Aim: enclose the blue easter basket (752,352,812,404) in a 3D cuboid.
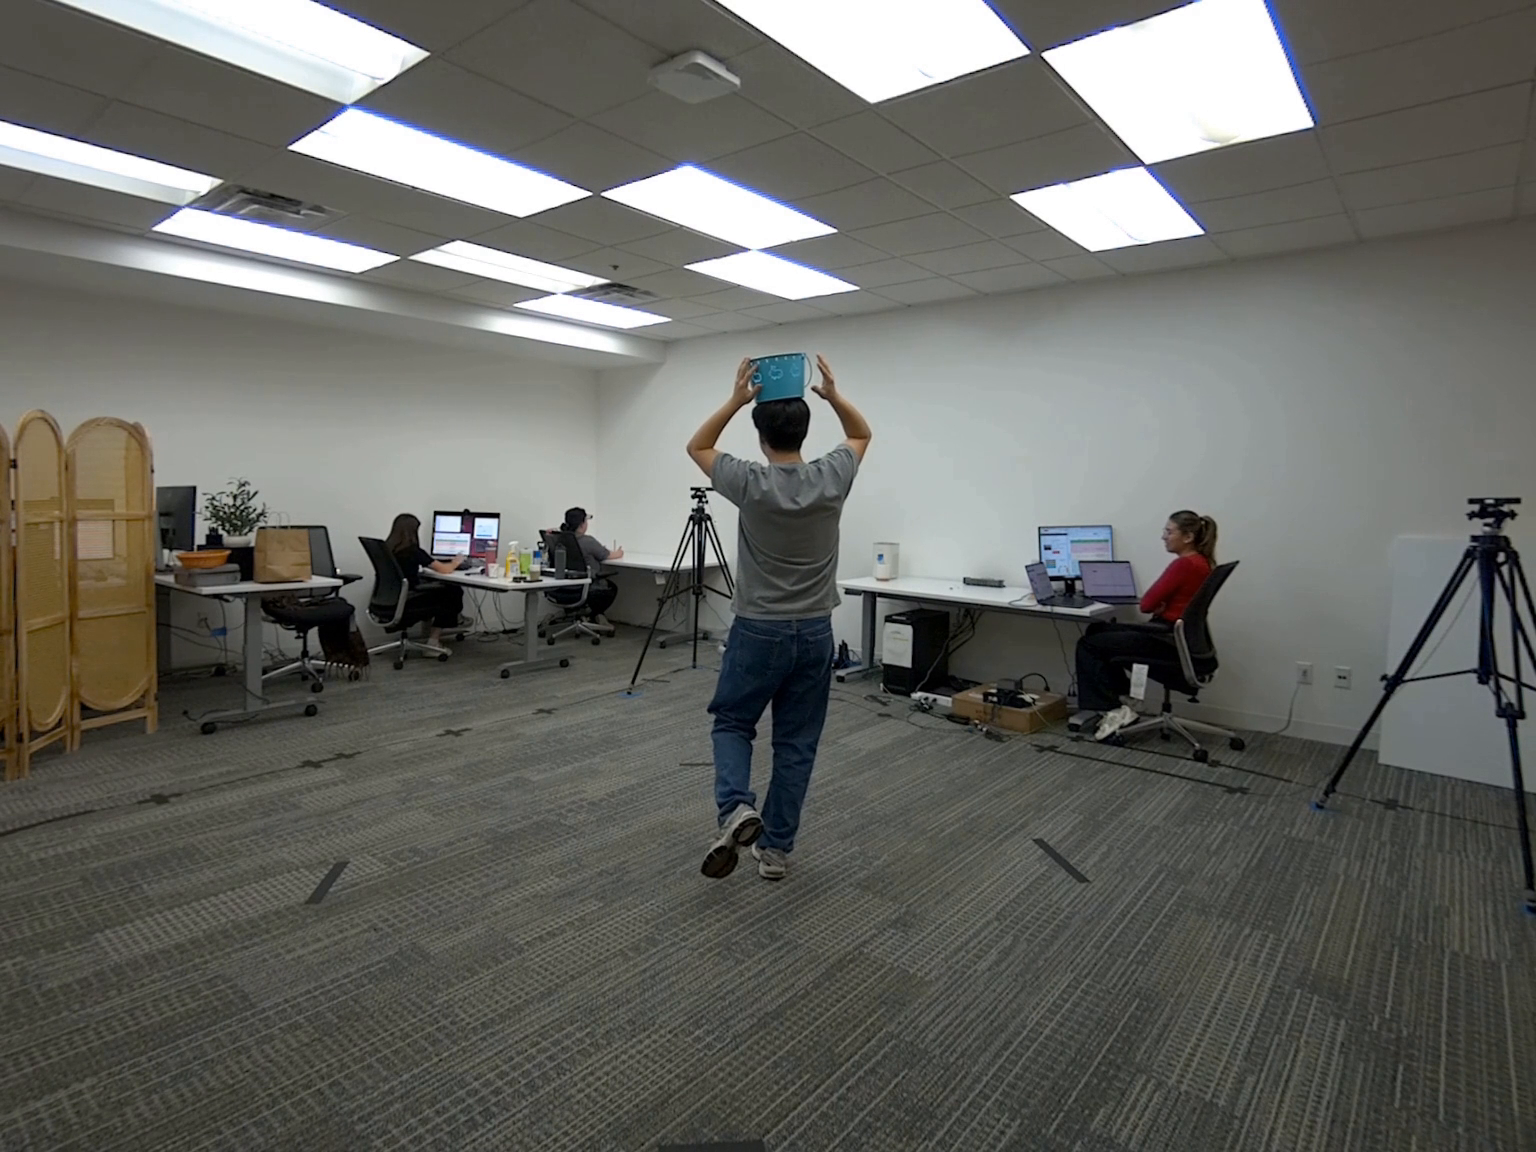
[{"bbox_3d":[0.034,-0.713,3.071,0.243,0.154,0.246,-7,9,-1],"label":"blue easter basket"}]
